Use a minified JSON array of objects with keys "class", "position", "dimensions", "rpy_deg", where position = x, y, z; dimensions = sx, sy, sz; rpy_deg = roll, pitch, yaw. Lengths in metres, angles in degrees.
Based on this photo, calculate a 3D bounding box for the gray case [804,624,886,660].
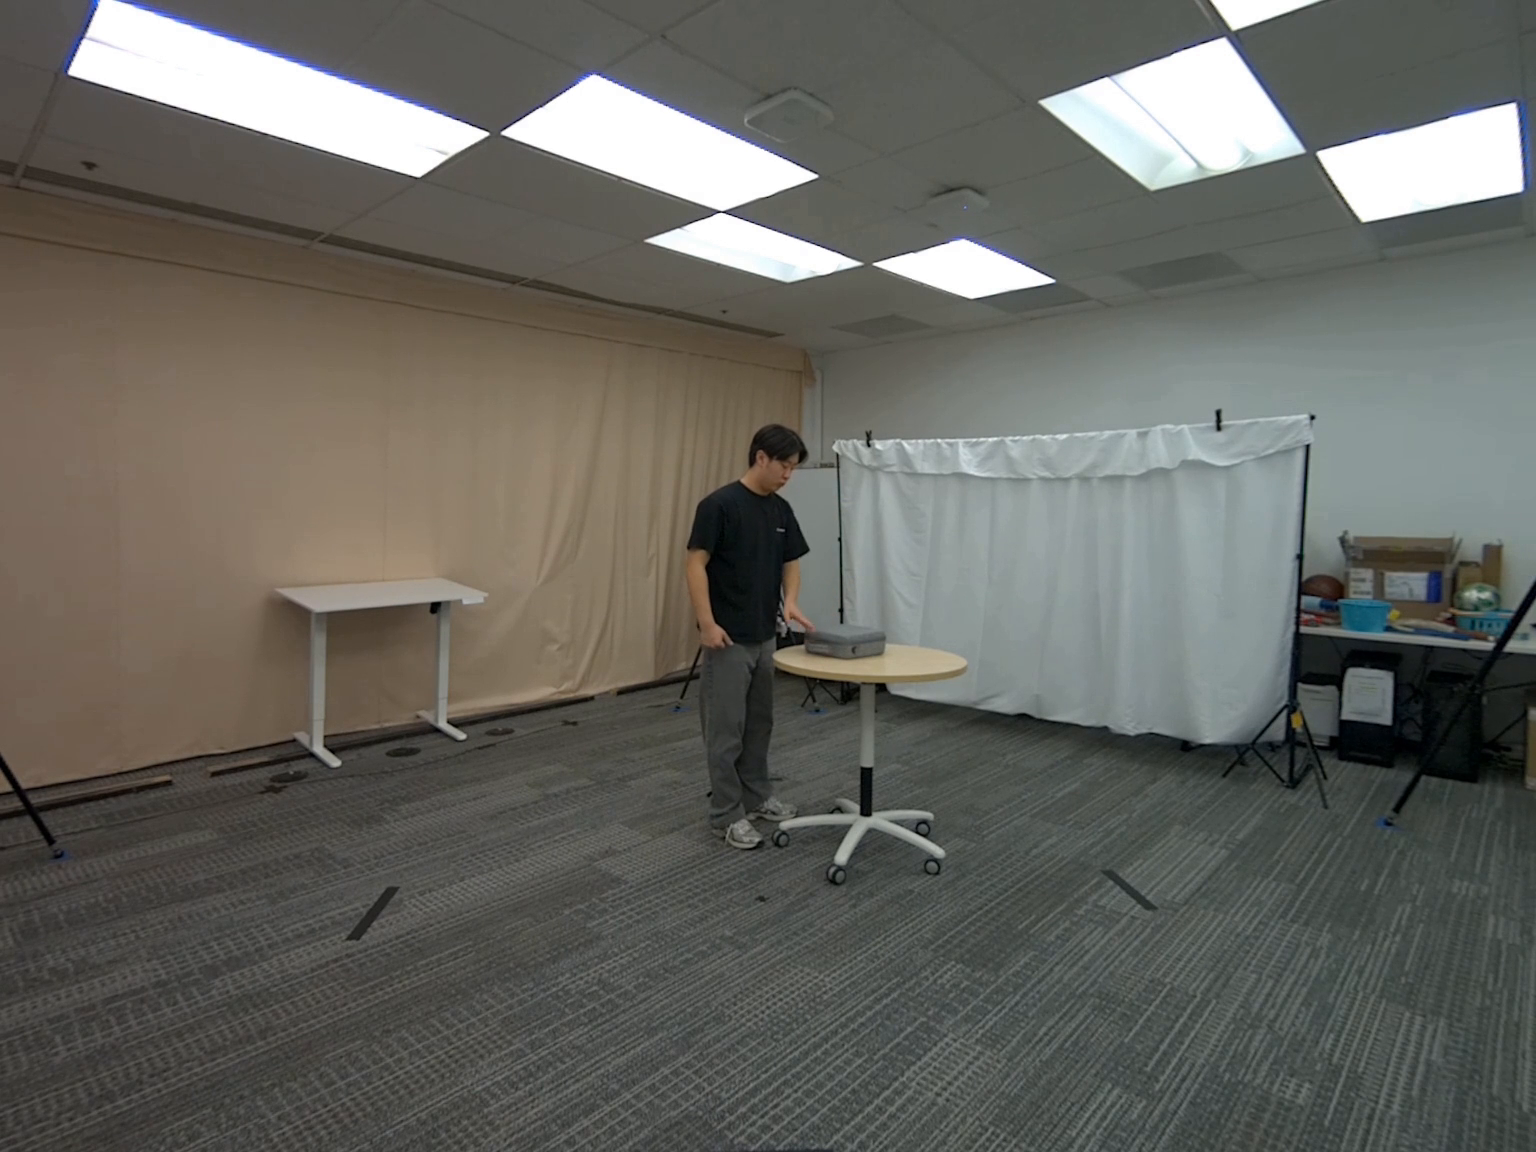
[{"class":"gray case","position":[0.315,0.270,3.457],"dimensions":[0.278,0.103,0.272],"rpy_deg":[-4,6,-40]}]
